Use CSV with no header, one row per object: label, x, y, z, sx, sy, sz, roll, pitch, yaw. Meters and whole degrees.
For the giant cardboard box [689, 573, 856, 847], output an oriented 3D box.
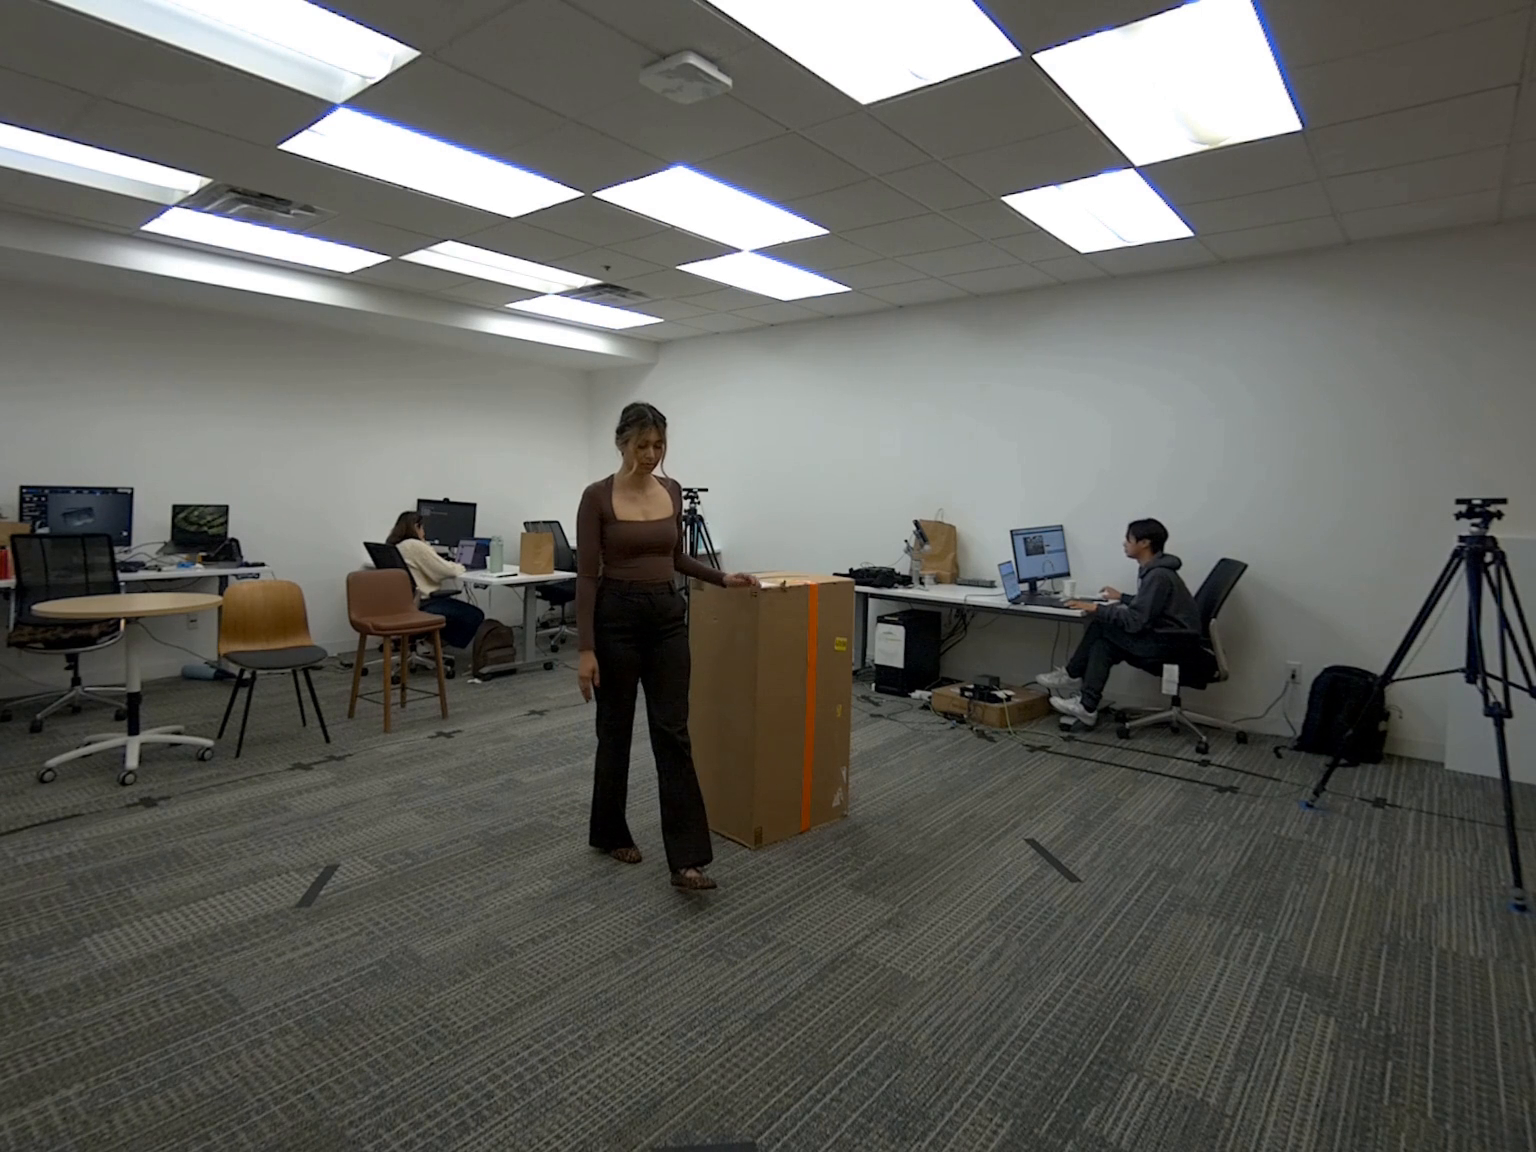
giant cardboard box,0.004,0.514,3.606,0.566,1.024,0.462,-2,5,-43
